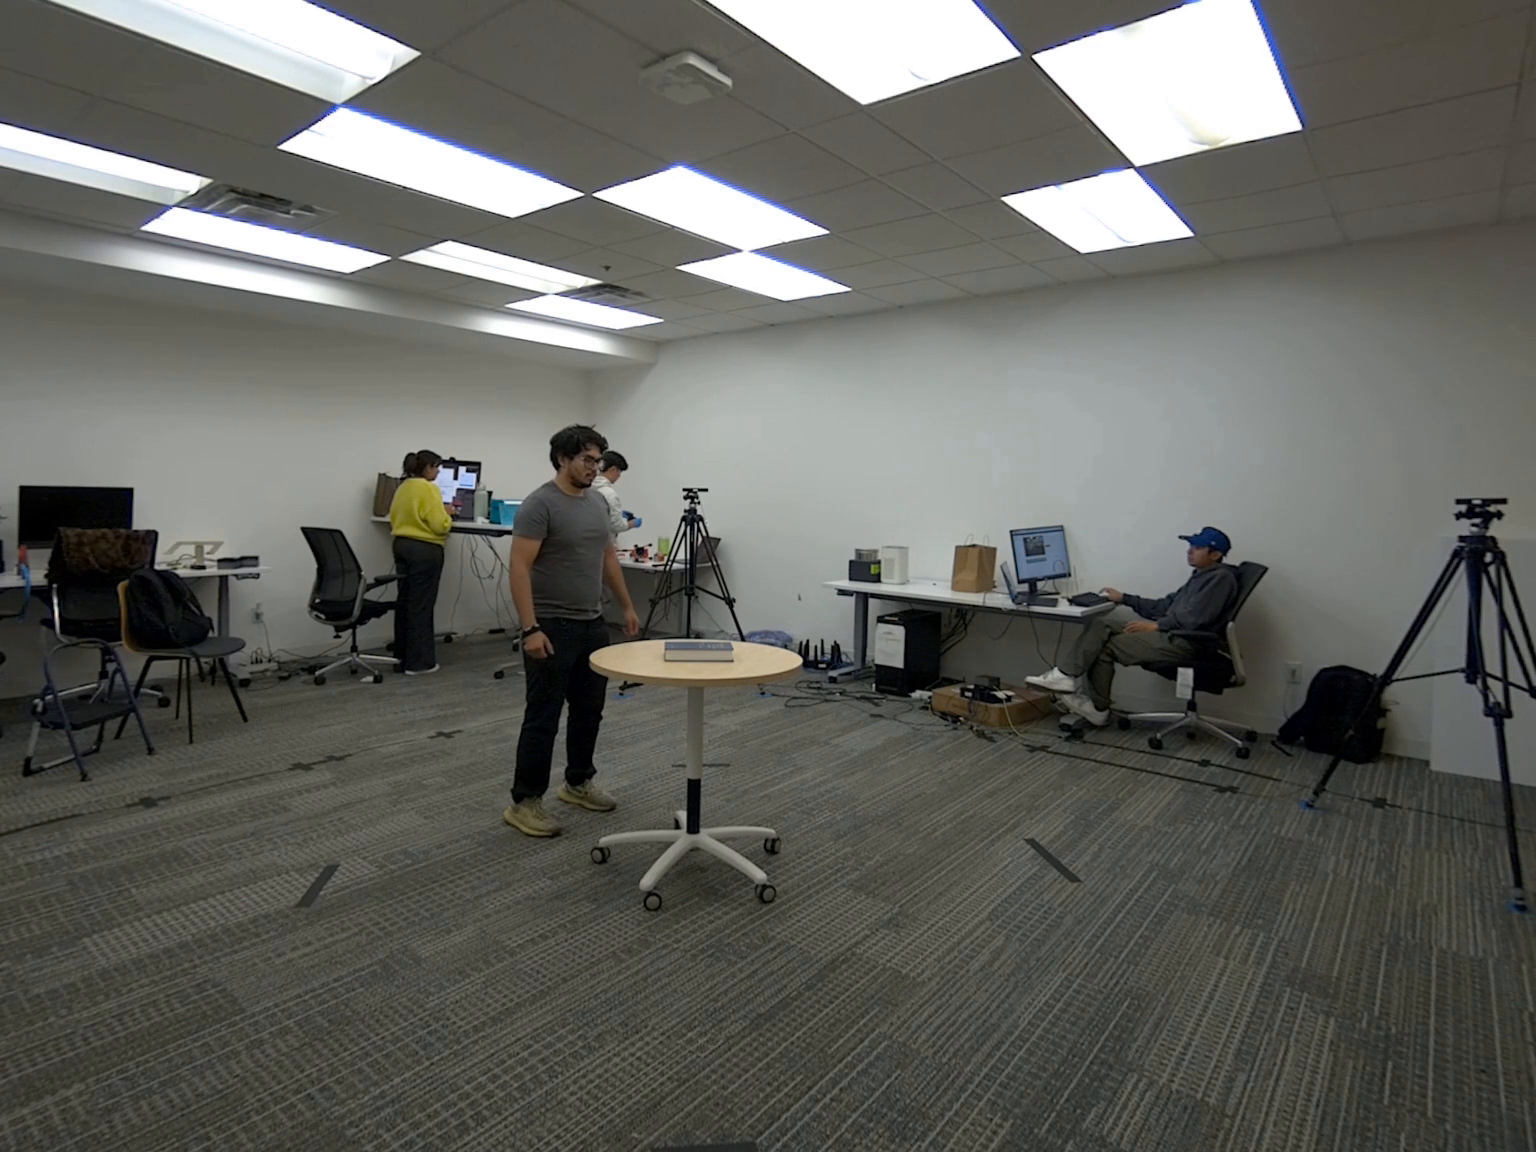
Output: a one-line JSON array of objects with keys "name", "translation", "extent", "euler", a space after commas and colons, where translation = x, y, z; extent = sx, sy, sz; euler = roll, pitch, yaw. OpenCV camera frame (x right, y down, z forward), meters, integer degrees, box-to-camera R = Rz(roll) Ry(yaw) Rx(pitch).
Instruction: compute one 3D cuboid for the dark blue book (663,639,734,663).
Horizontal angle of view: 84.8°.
[{"name": "dark blue book", "translation": [-0.260, 0.271, 3.067], "extent": [0.244, 0.045, 0.165], "euler": [0, 6, -5]}]
